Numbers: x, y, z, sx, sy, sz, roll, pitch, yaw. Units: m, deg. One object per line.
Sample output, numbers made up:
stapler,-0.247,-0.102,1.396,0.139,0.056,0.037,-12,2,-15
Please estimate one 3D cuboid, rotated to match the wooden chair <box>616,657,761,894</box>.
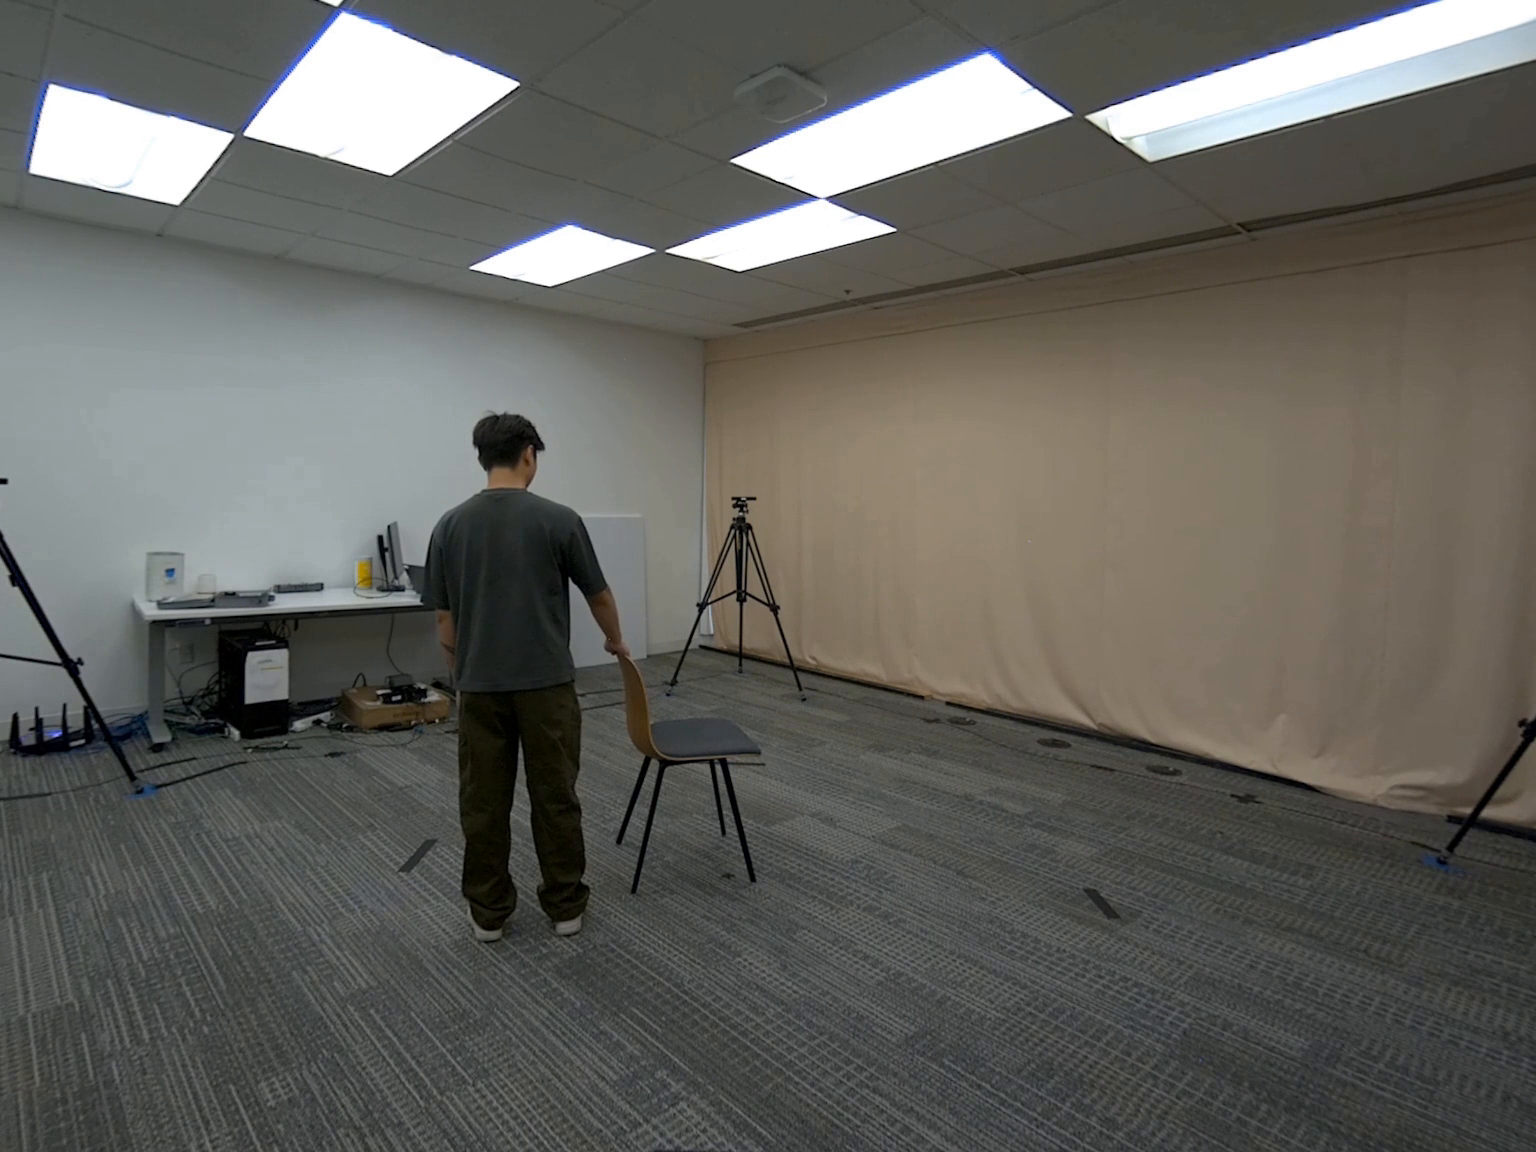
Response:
wooden chair,-0.314,0.668,3.186,0.517,0.875,0.485,-4,4,-16
